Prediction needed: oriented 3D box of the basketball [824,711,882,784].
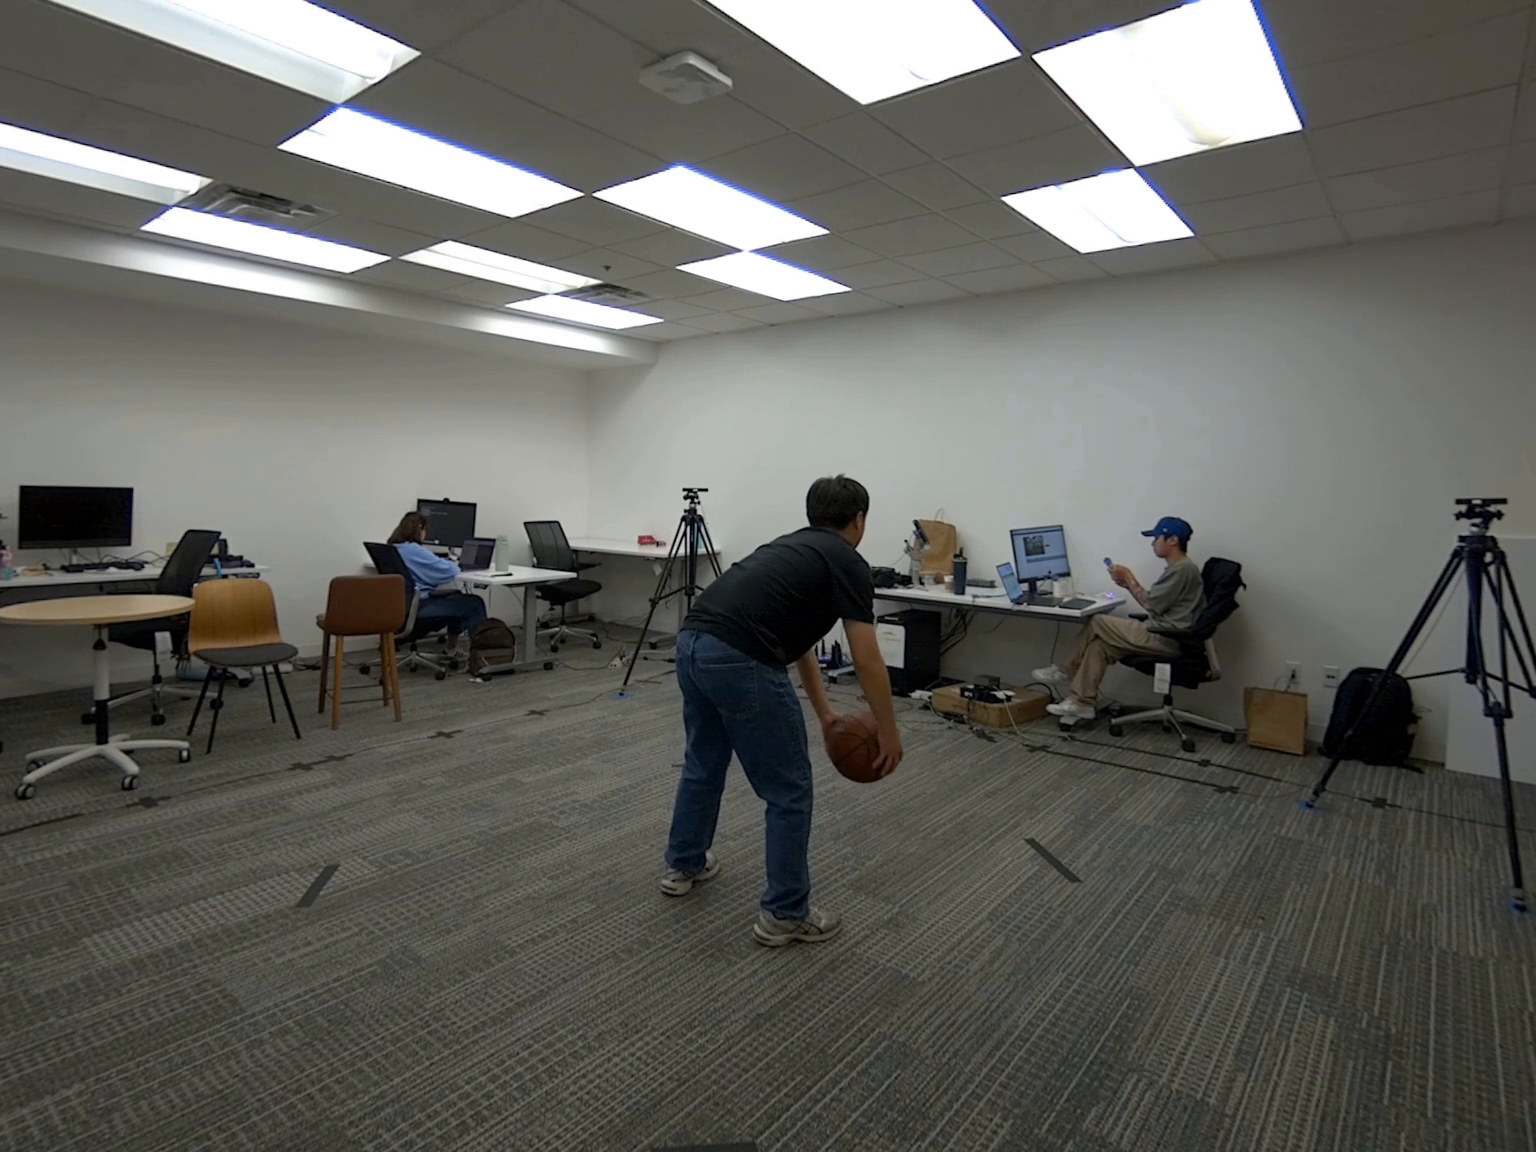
[{"bbox_3d":[0.314,0.560,2.848,0.235,0.235,0.237,1,4,-2],"label":"basketball"}]
